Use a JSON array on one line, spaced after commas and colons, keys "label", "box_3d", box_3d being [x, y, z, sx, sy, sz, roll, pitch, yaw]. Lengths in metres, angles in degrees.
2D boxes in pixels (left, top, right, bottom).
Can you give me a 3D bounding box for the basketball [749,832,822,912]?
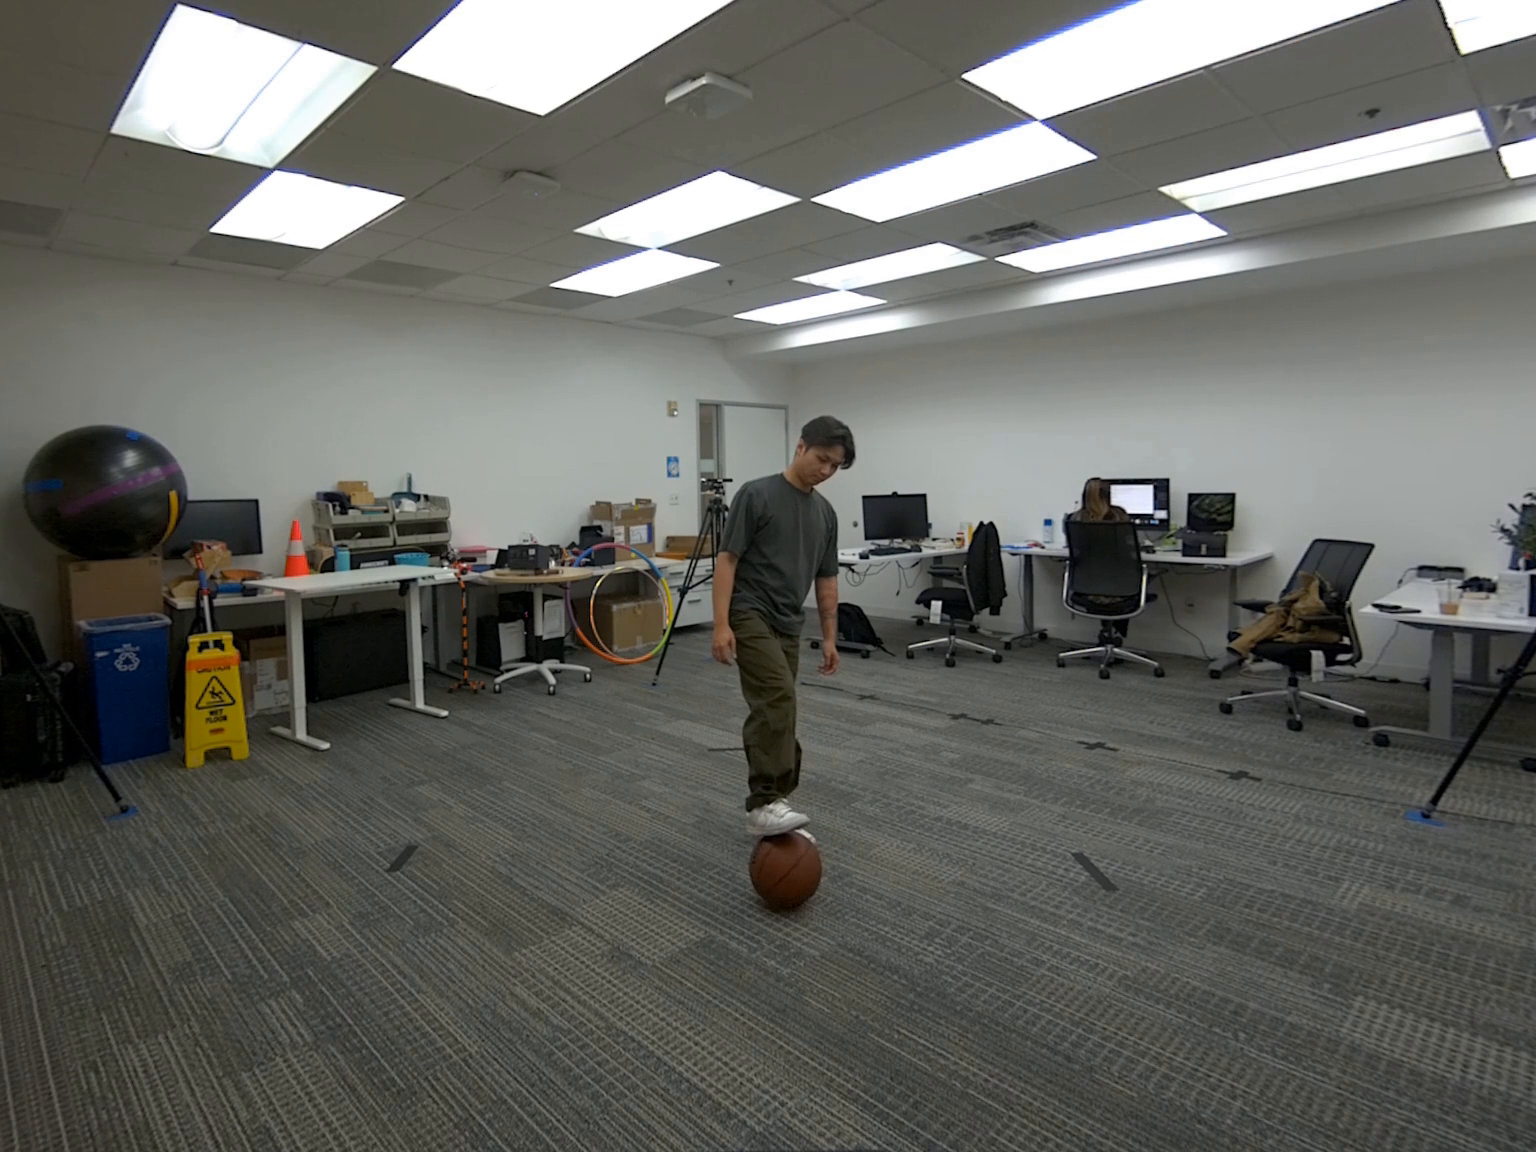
[{"label": "basketball", "box_3d": [0.059, 0.962, 2.809, 0.236, 0.235, 0.237, -1, 5, -2]}]
